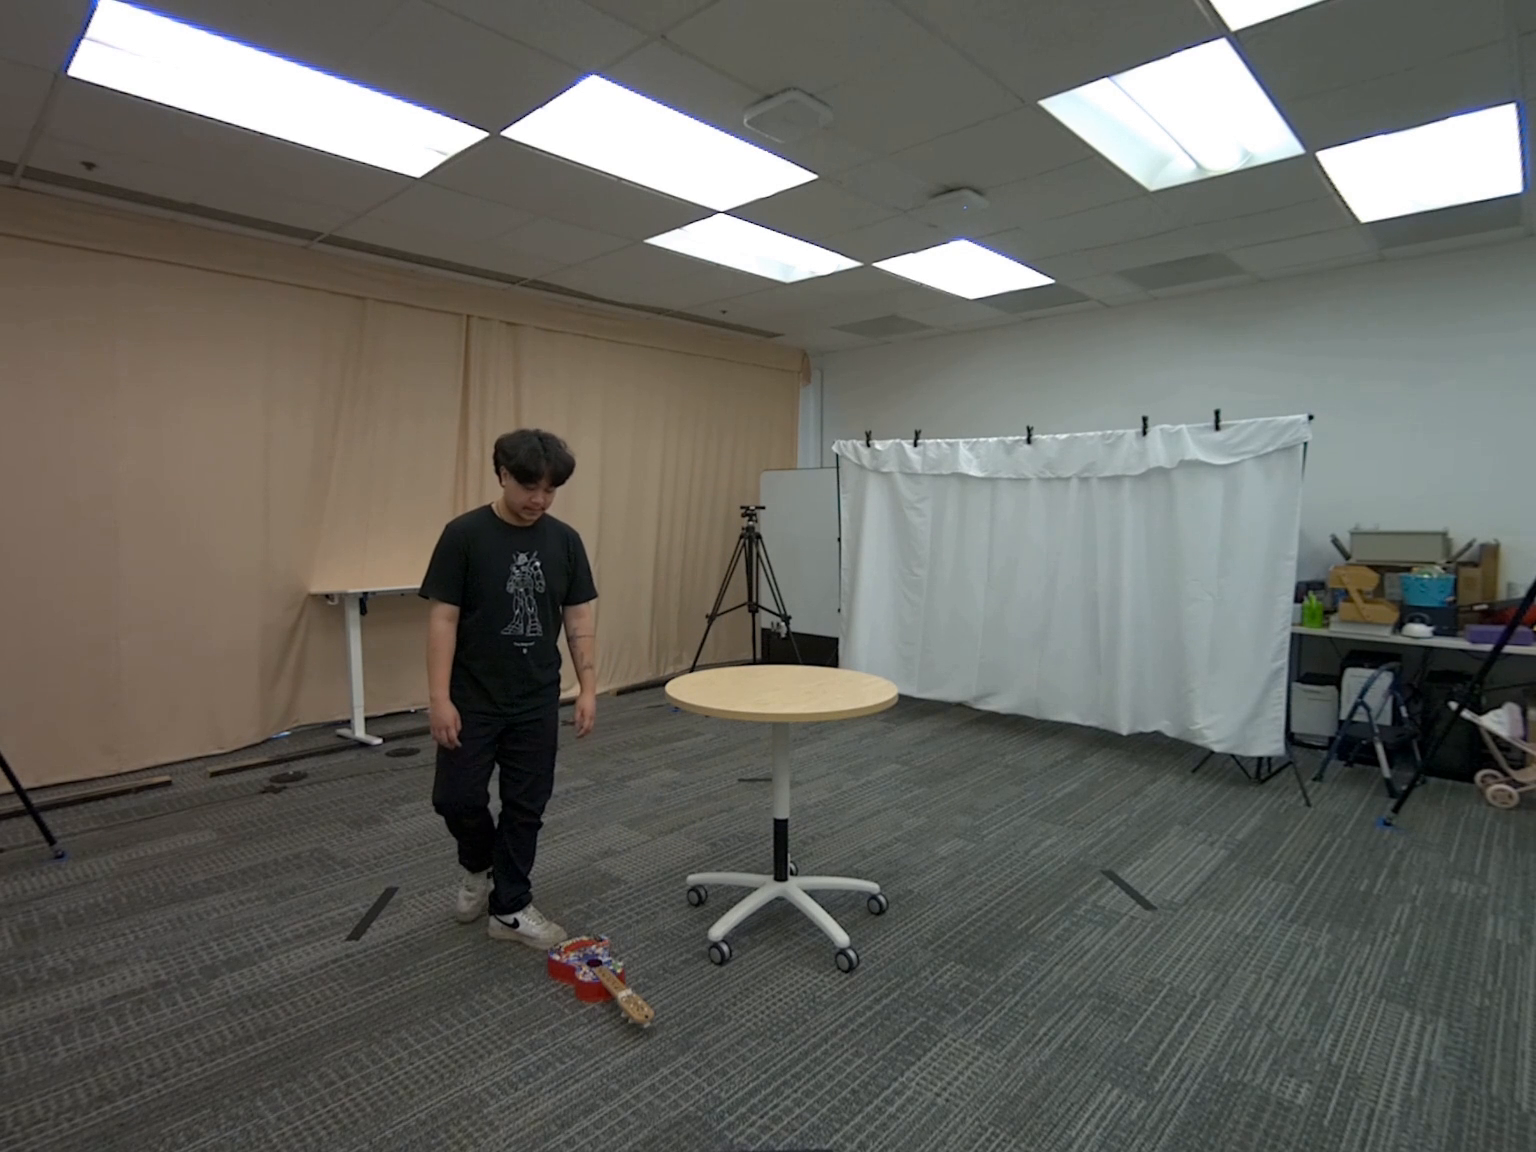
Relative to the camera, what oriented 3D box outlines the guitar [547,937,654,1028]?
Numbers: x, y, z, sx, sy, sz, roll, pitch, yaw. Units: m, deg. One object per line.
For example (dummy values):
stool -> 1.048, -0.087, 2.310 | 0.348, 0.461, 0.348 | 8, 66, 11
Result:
guitar -> -0.488, 1.166, 2.383 | 0.188, 0.070, 0.511 | -2, 4, -27
